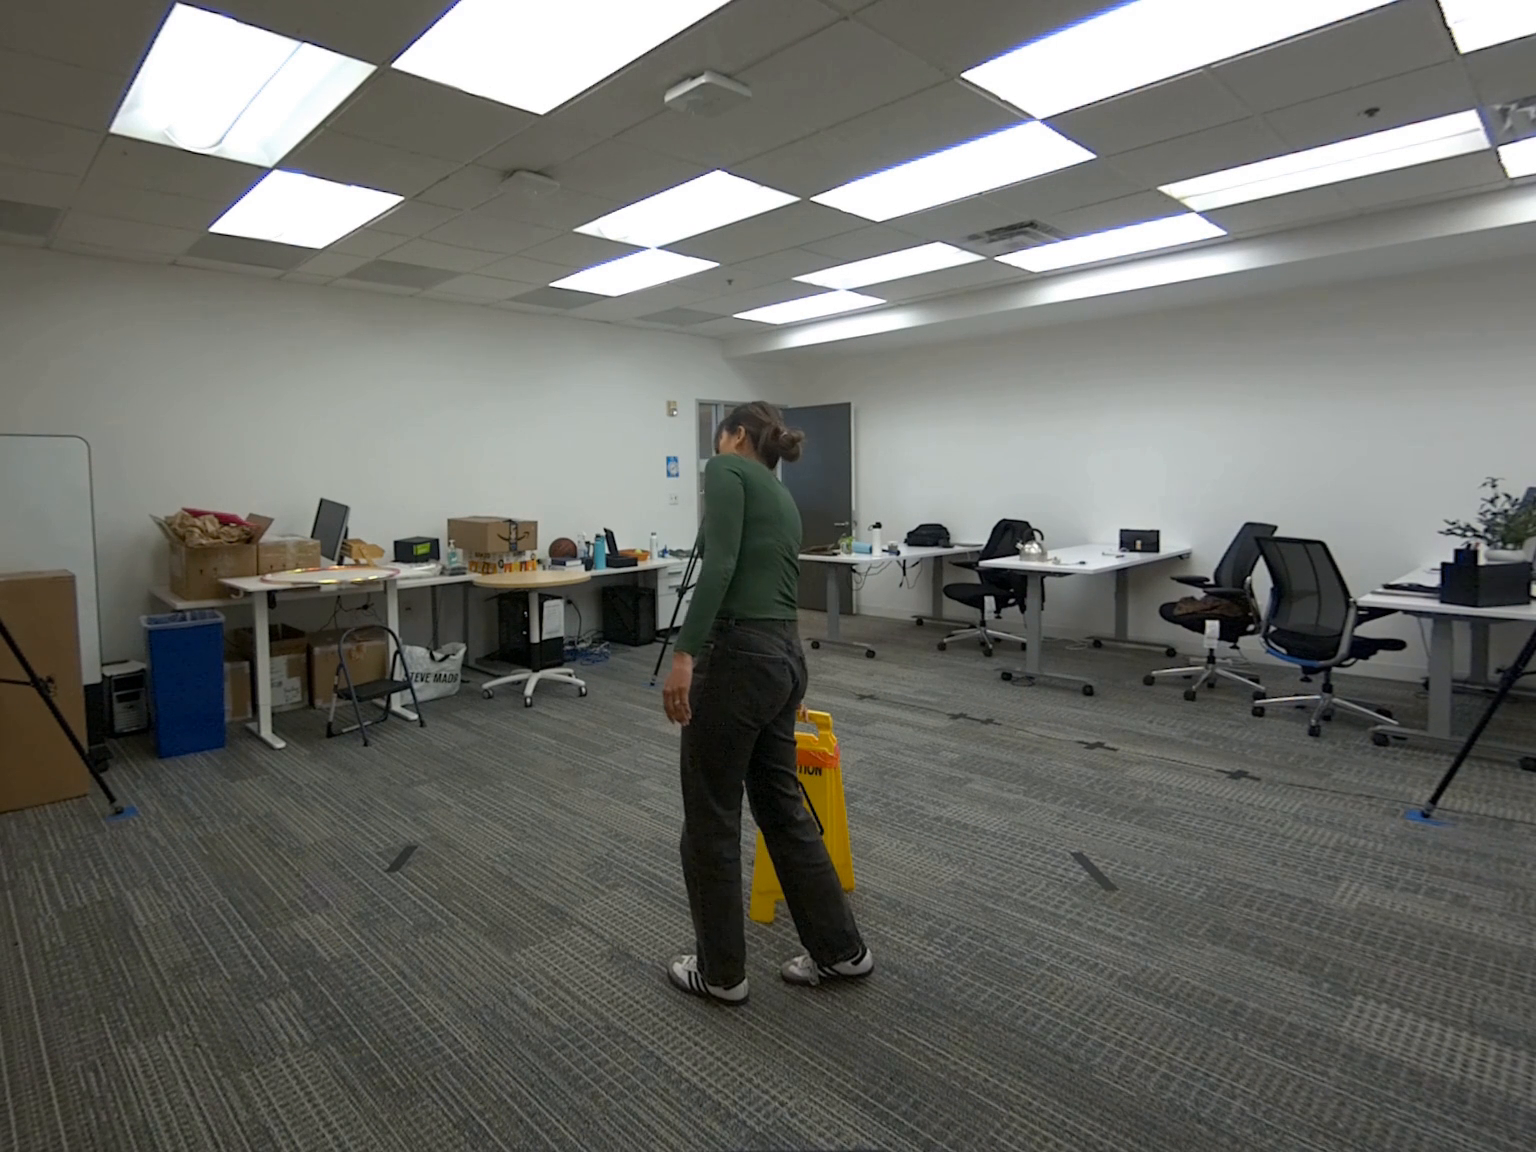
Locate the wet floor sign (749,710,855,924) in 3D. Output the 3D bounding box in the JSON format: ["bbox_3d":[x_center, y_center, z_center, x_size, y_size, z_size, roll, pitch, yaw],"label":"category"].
[{"bbox_3d":[0.119,0.758,2.784,0.288,0.644,0.285,2,4,19],"label":"wet floor sign"}]
